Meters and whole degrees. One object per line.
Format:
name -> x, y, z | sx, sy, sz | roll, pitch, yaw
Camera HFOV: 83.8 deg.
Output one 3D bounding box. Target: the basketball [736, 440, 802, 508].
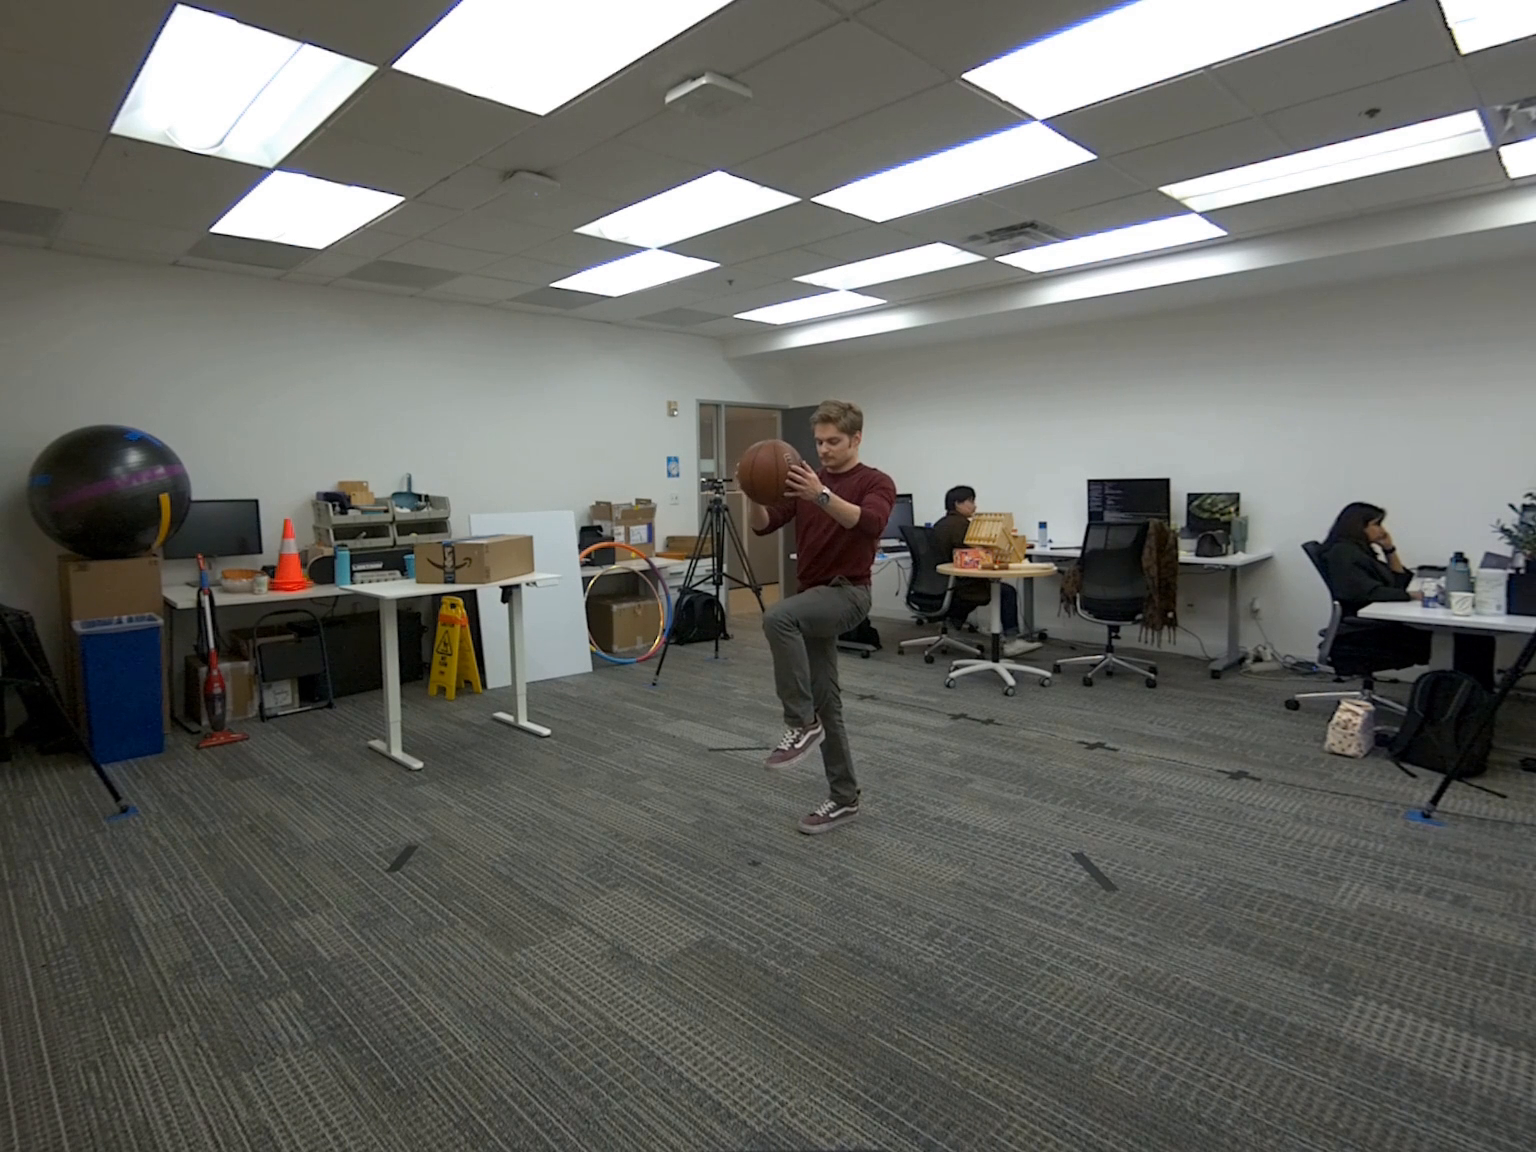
basketball -> 0.024, -0.347, 3.059 | 0.236, 0.235, 0.237 | -1, 5, -2
